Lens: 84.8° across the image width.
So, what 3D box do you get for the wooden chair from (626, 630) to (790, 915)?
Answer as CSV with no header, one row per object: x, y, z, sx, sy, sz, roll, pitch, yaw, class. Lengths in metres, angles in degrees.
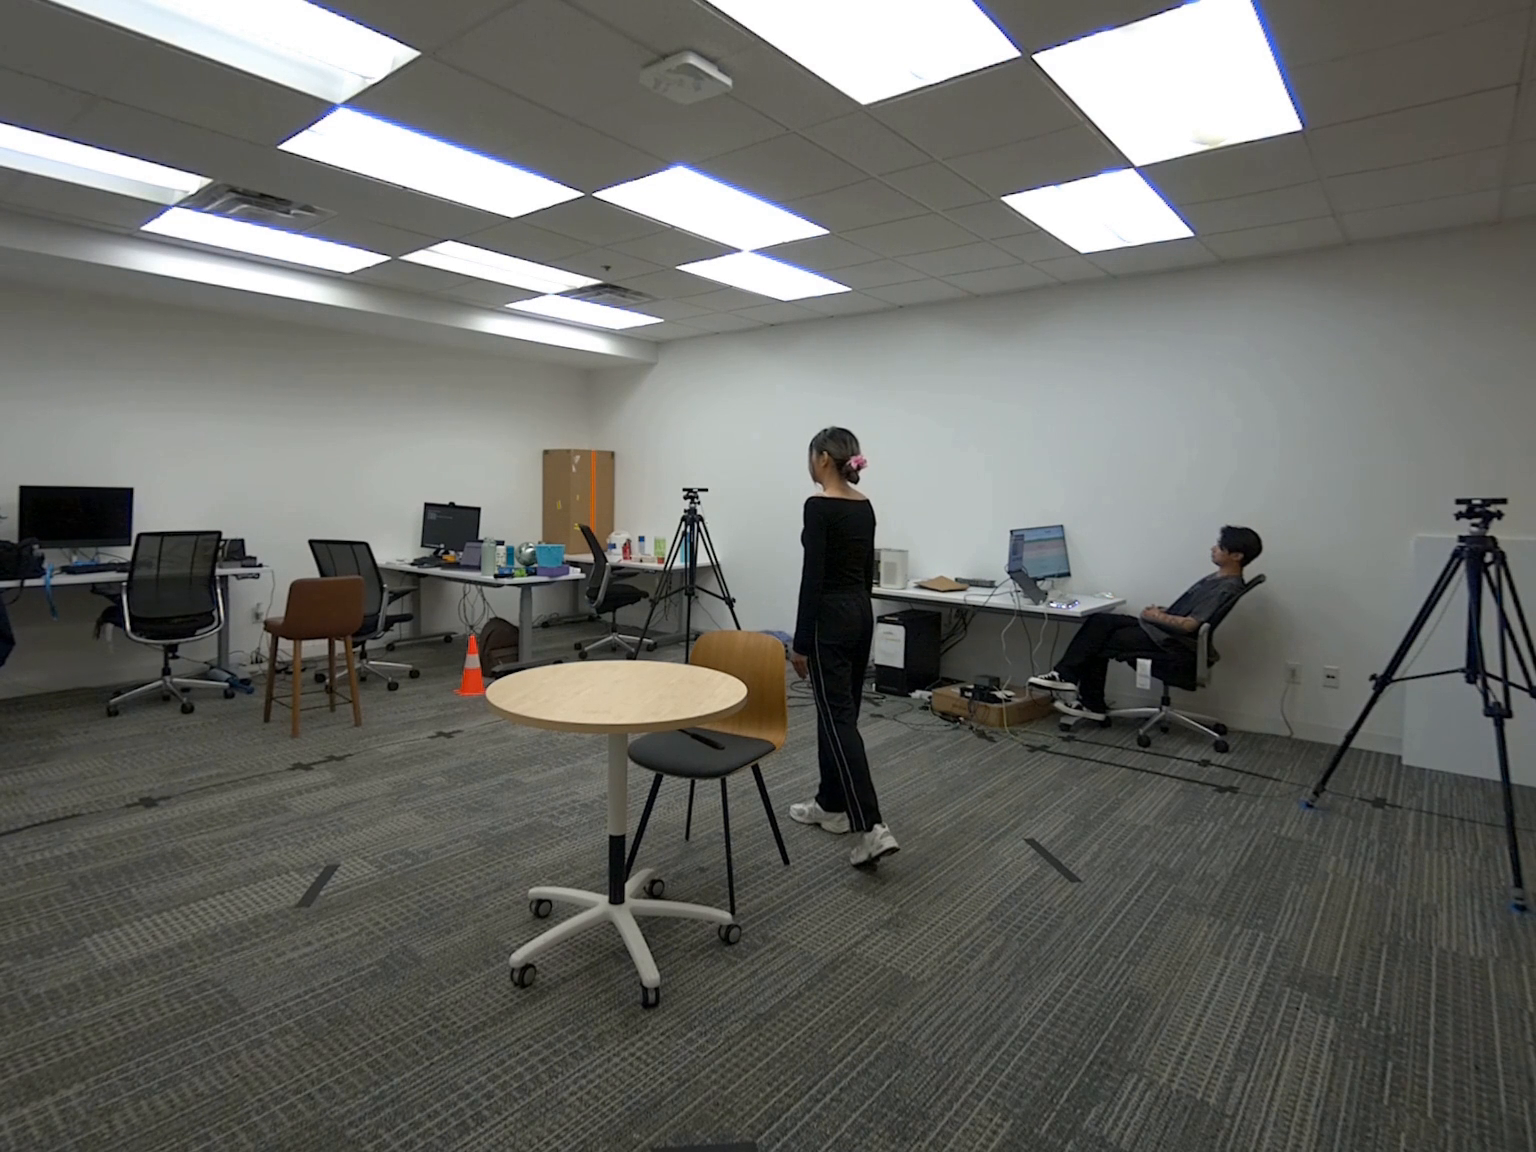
-0.220,0.647,3.044,0.491,0.878,0.508,3,-1,28,wooden chair
